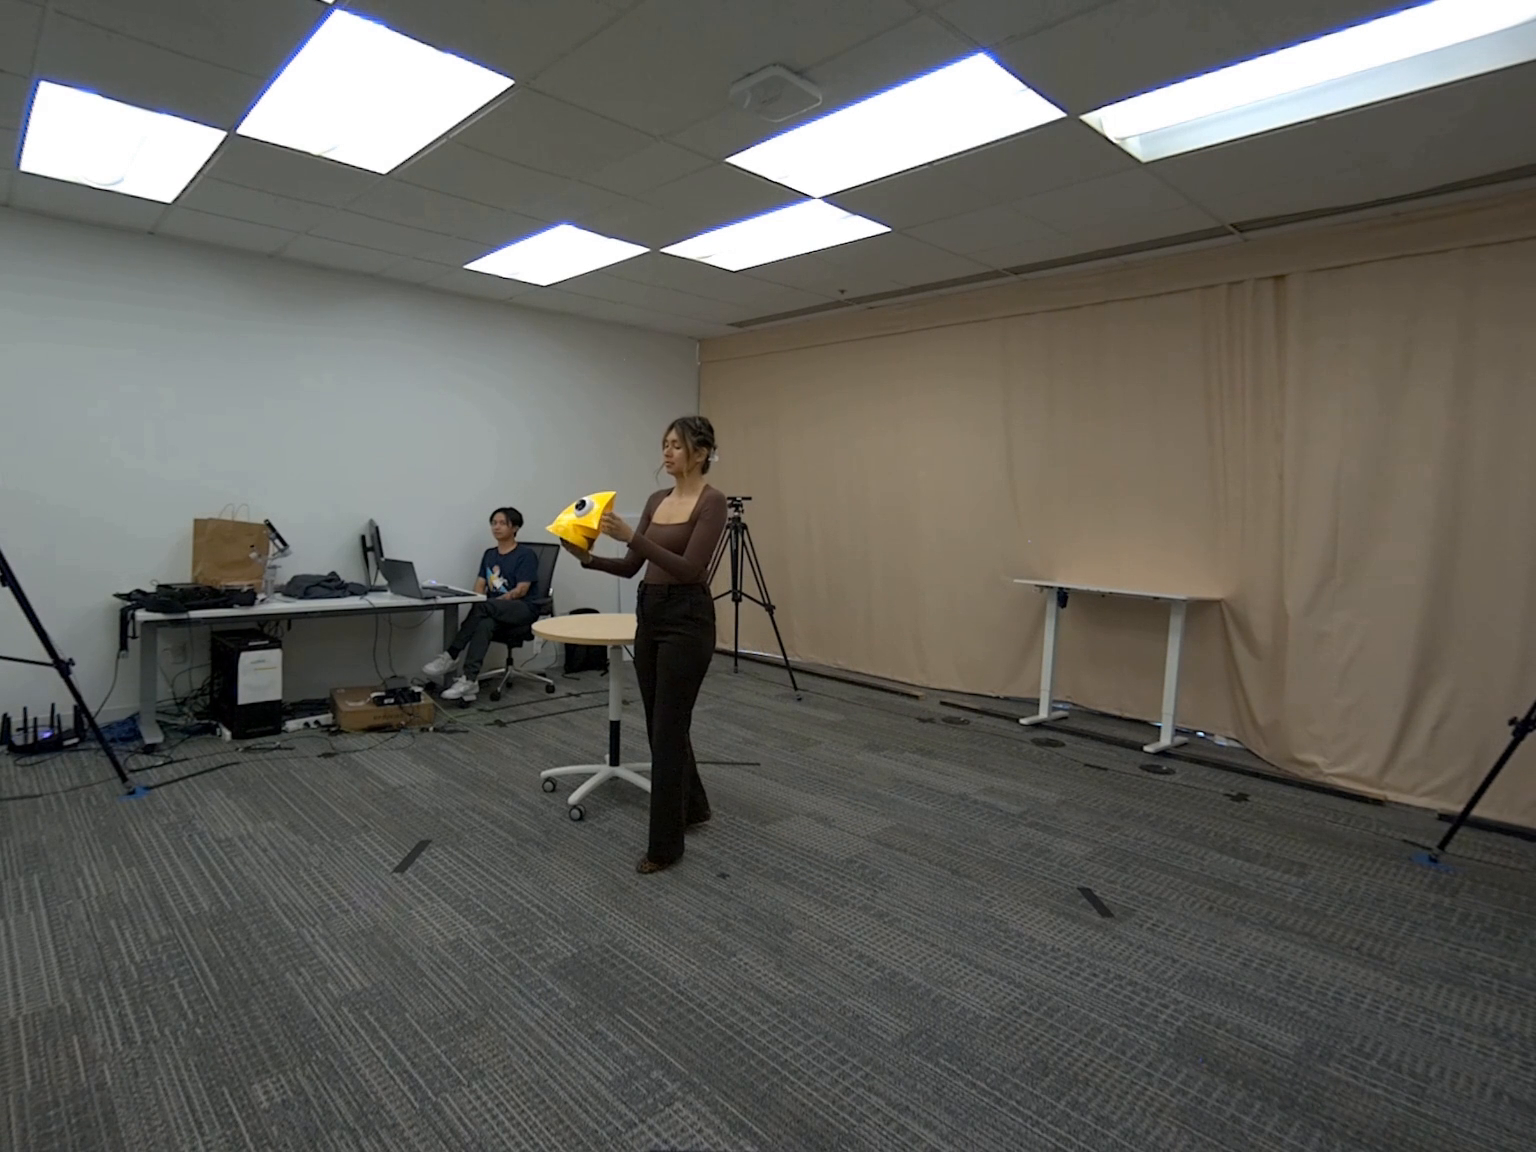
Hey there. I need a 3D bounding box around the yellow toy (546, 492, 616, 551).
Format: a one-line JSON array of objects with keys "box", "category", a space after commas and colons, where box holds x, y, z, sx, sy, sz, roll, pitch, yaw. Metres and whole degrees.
[{"box": [-0.655, -0.222, 3.019, 0.194, 0.231, 0.203, 25, -3, 7], "category": "yellow toy"}]
